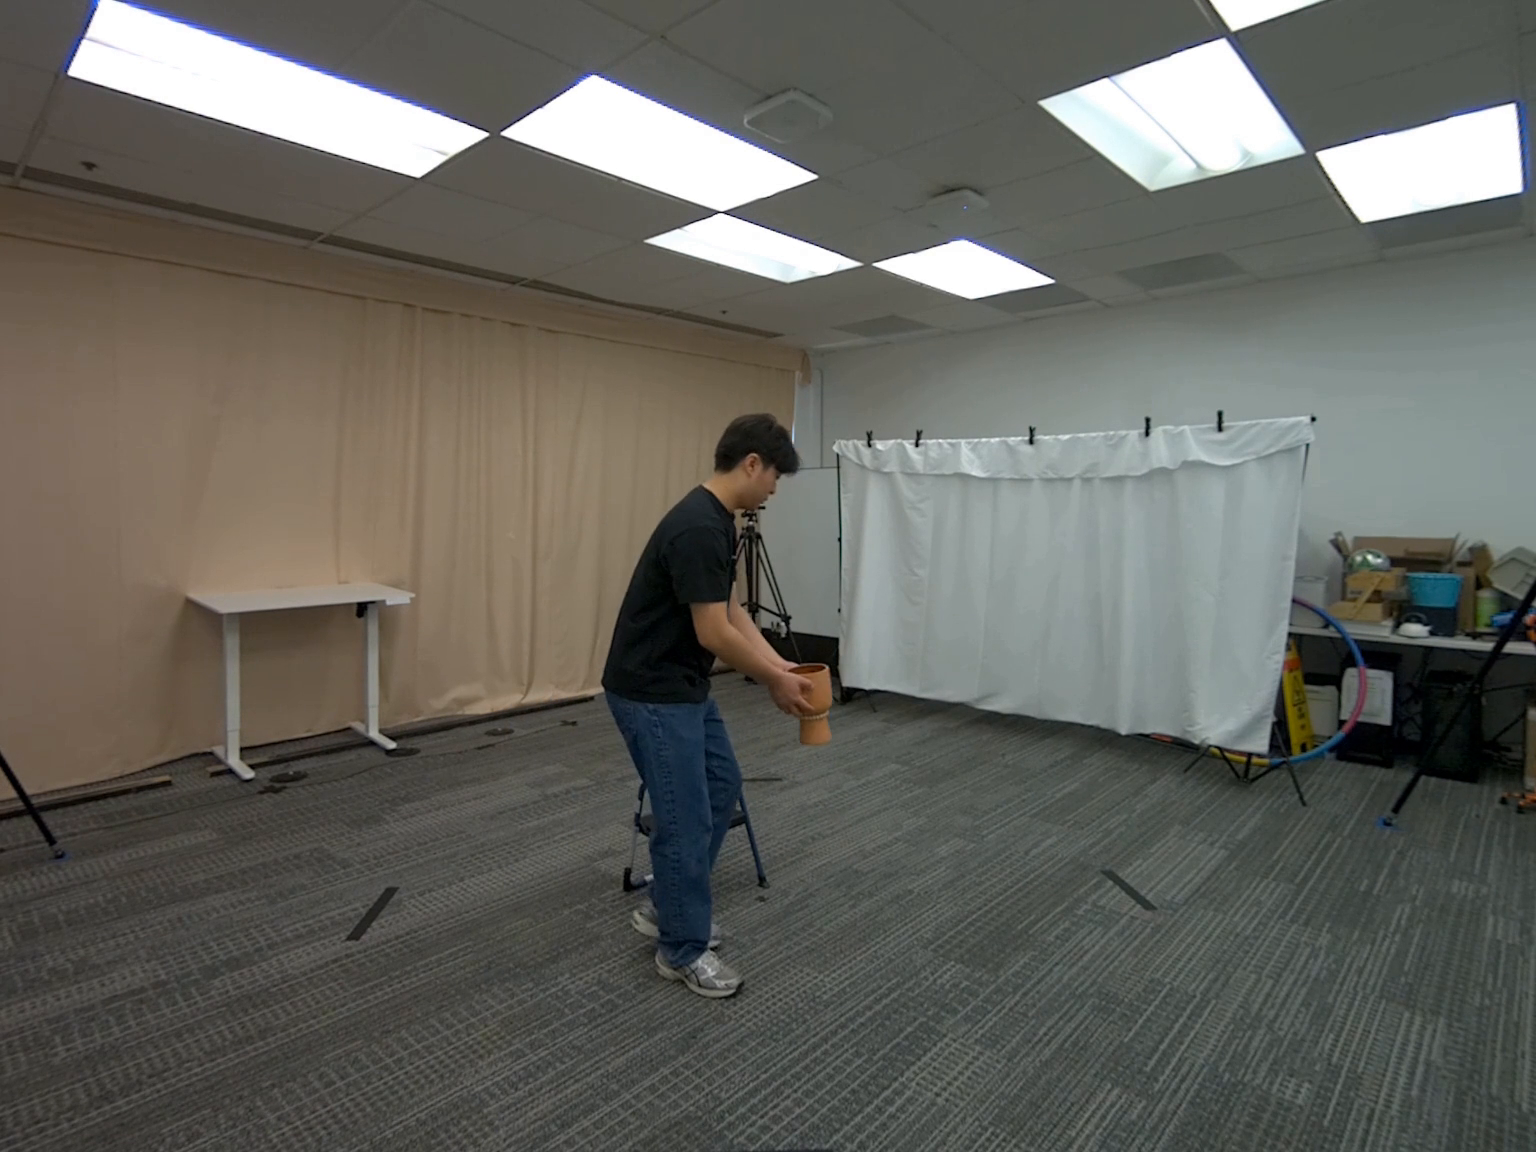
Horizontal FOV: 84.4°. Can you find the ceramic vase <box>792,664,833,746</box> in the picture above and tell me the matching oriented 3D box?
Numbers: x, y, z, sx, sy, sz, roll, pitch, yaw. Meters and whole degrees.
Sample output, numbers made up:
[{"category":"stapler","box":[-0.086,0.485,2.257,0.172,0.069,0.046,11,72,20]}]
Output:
[{"category":"ceramic vase","box":[0.132,0.393,2.536,0.155,0.219,0.138,-9,6,-27]}]
